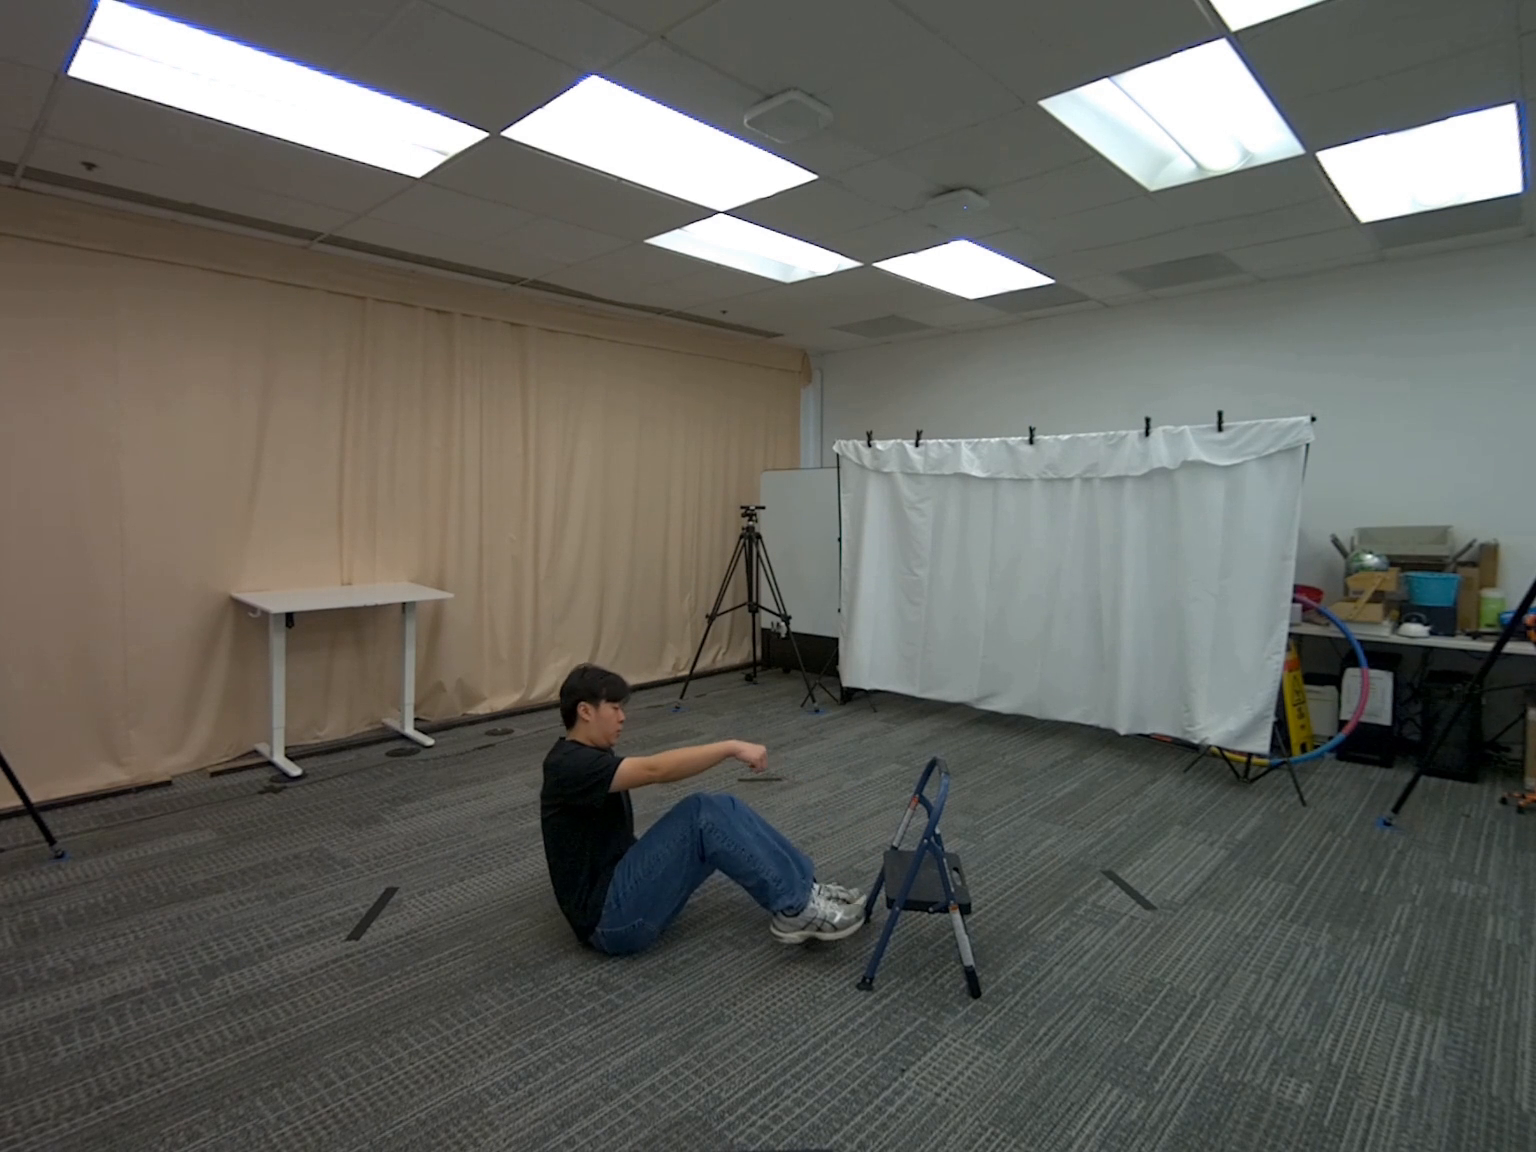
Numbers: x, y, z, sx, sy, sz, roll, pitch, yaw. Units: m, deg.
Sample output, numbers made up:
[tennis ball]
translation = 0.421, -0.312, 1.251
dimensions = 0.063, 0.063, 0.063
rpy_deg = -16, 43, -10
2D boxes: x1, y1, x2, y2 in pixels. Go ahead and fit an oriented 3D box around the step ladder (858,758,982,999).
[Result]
[step ladder]
translation = 0.462, 0.875, 2.579
dimensions = 0.352, 0.604, 0.428
rpy_deg = 0, 4, 7
